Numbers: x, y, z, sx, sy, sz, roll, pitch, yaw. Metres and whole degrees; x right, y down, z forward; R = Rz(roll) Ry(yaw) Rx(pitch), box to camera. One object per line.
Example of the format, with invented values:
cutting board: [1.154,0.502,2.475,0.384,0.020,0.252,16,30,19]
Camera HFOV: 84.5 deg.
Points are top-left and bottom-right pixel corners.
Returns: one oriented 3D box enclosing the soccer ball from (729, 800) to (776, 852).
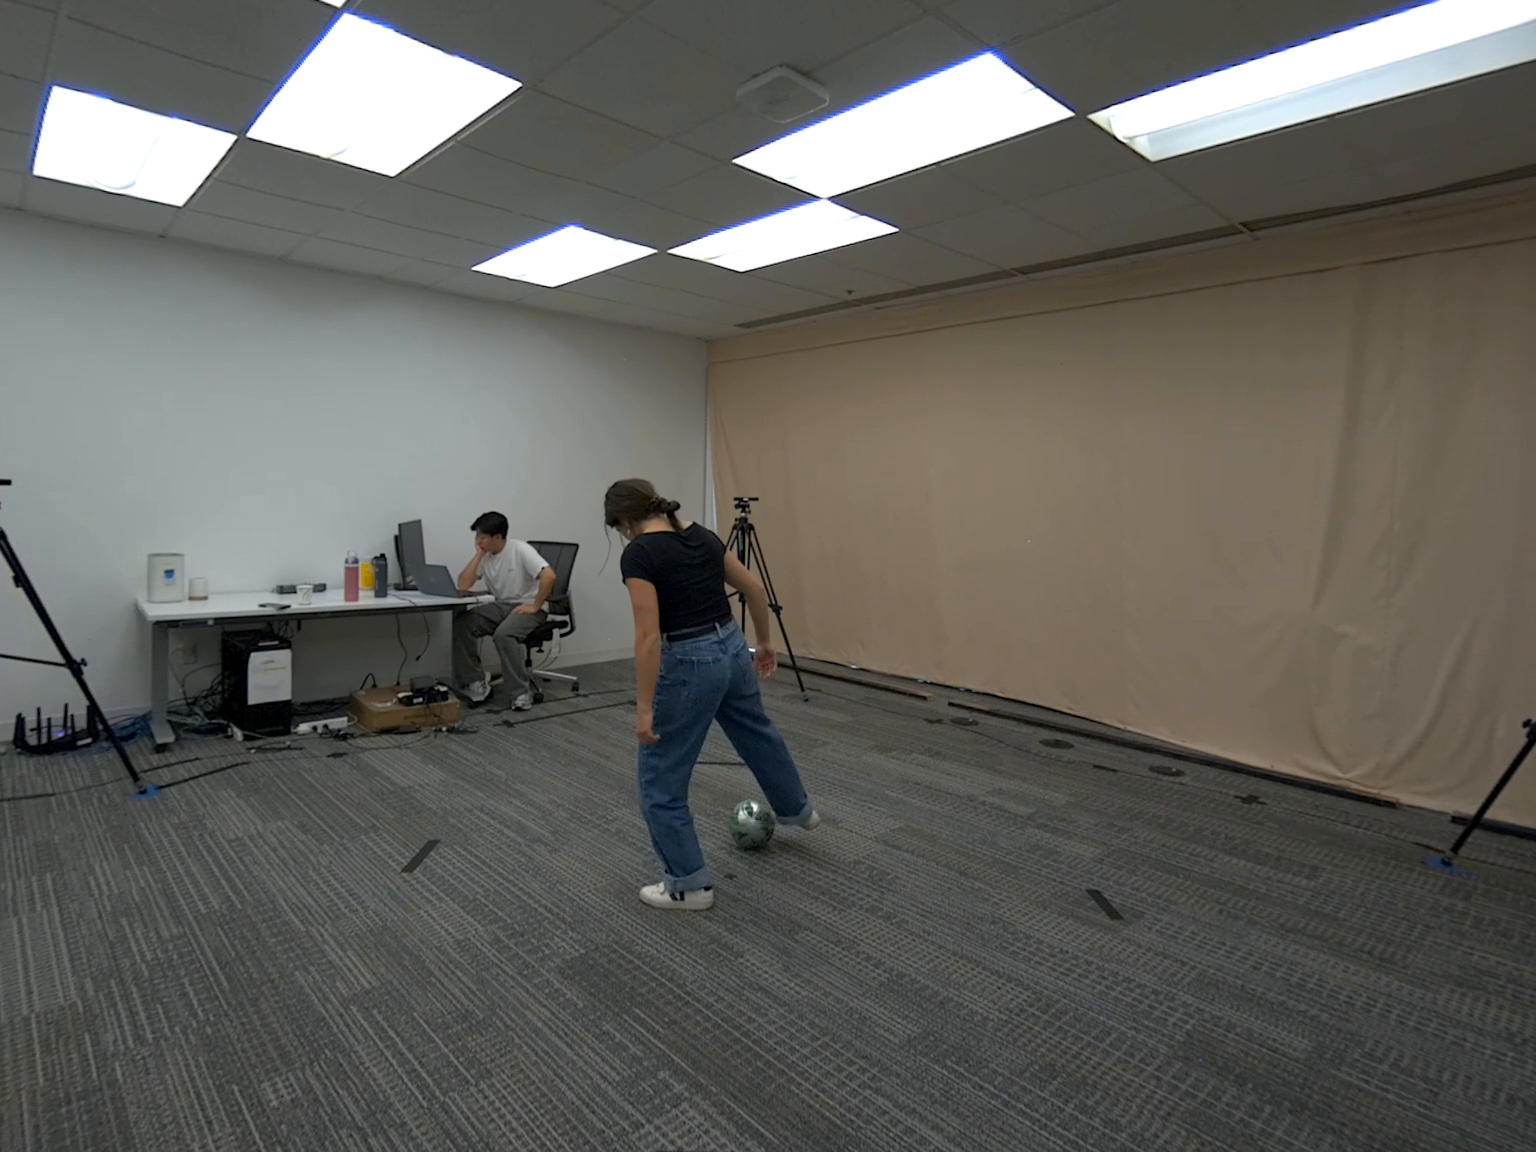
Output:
soccer ball: [-0.079,0.990,3.363,0.187,0.187,0.188,1,4,-1]
